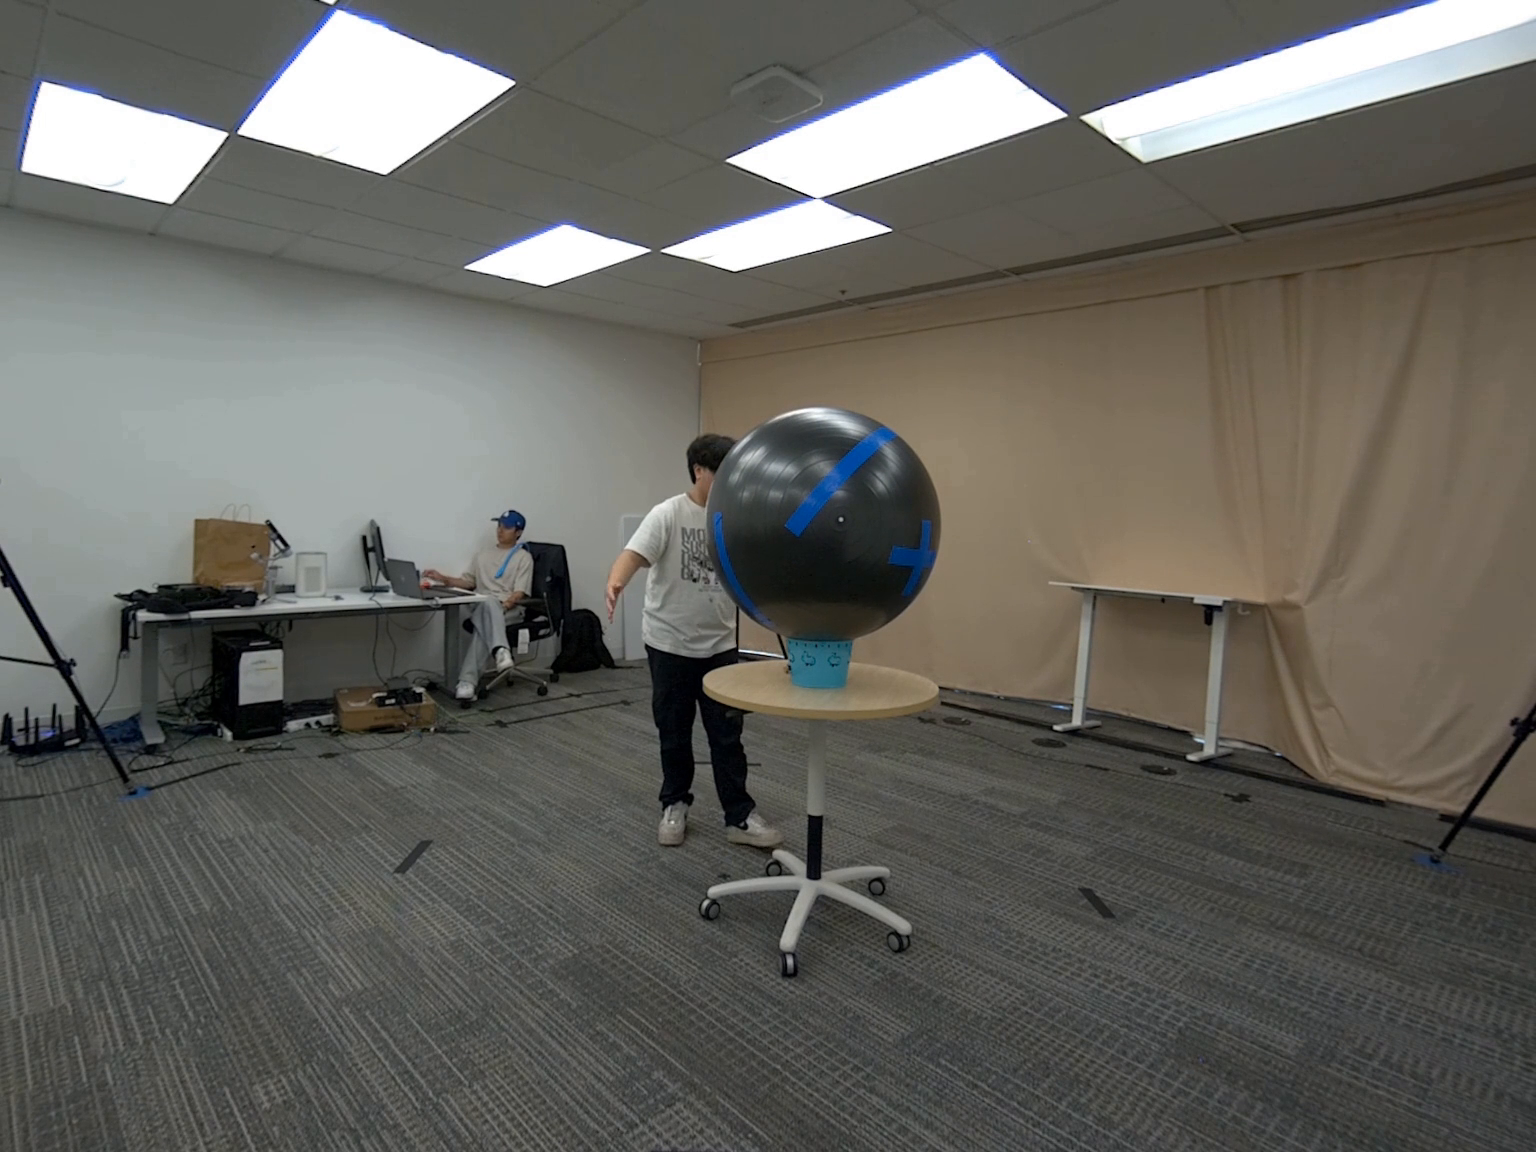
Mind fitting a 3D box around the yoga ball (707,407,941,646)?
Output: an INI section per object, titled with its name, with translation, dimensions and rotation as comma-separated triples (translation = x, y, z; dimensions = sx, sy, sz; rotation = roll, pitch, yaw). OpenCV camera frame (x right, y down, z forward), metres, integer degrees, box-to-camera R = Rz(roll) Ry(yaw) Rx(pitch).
[yoga ball]
translation = 0.171, -0.158, 2.735
dimensions = 0.757, 0.756, 0.761
rotation = 1, 4, -1
